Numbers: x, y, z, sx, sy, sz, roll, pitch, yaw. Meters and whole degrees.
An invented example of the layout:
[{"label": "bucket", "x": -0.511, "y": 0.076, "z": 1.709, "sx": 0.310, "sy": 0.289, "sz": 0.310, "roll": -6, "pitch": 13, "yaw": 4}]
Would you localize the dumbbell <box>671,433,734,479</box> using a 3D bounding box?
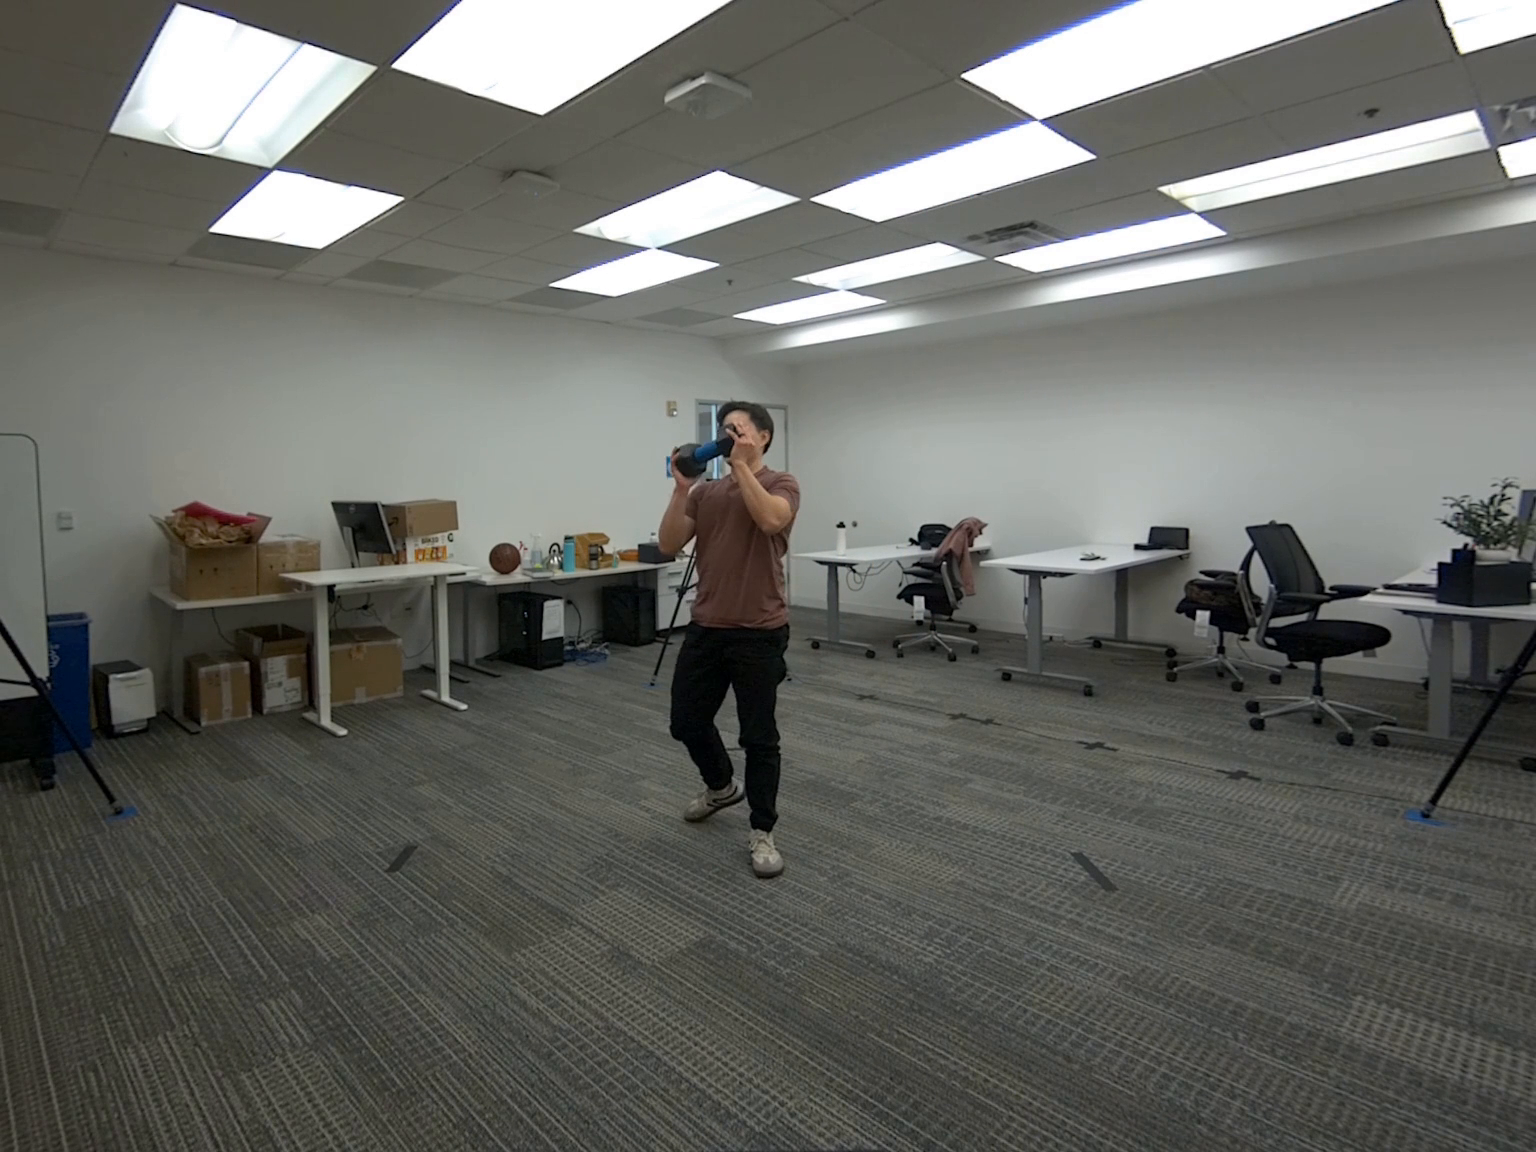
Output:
[{"label": "dumbbell", "x": -0.201, "y": -0.442, "z": 3.028, "sx": 0.299, "sy": 0.121, "sz": 0.109, "roll": -17, "pitch": 21, "yaw": 42}]
